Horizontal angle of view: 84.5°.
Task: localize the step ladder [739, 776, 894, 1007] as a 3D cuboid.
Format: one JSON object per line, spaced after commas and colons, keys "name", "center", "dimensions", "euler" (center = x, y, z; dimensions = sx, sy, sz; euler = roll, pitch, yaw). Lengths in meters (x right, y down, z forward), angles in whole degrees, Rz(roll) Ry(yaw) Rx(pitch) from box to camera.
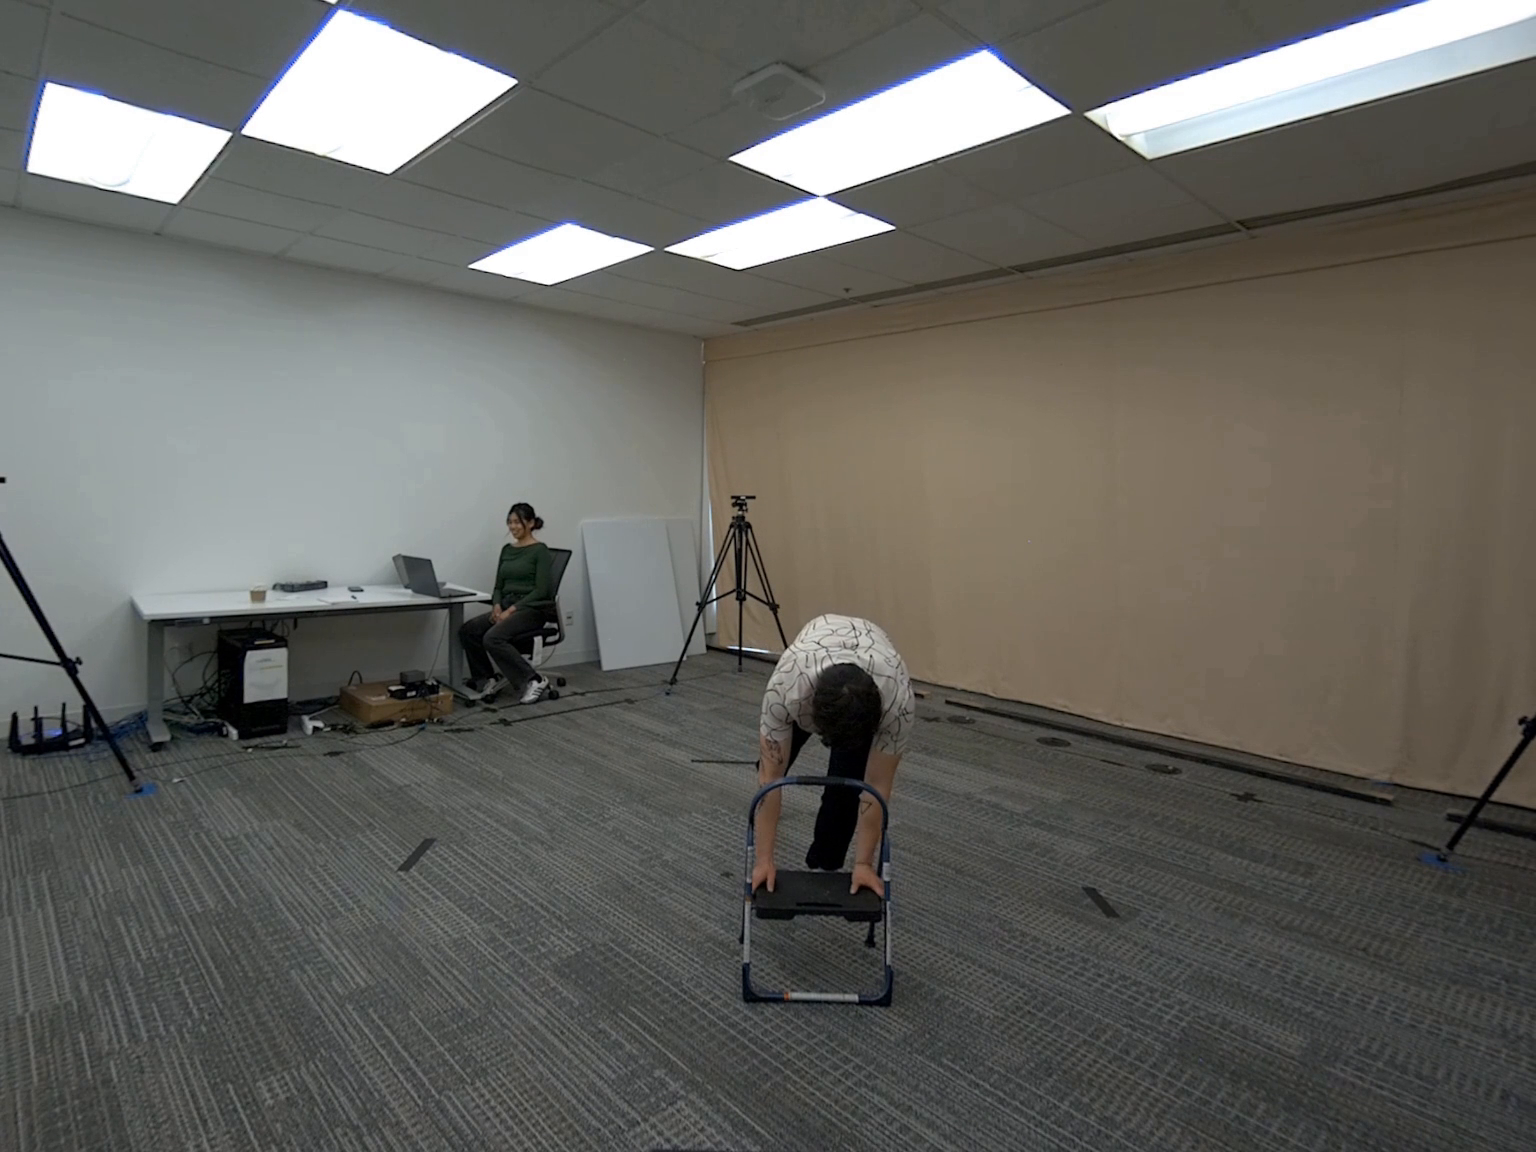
{"name": "step ladder", "center": [0.131, 0.868, 2.465], "dimensions": [0.430, 0.604, 0.350], "euler": [1, 3, -1]}
